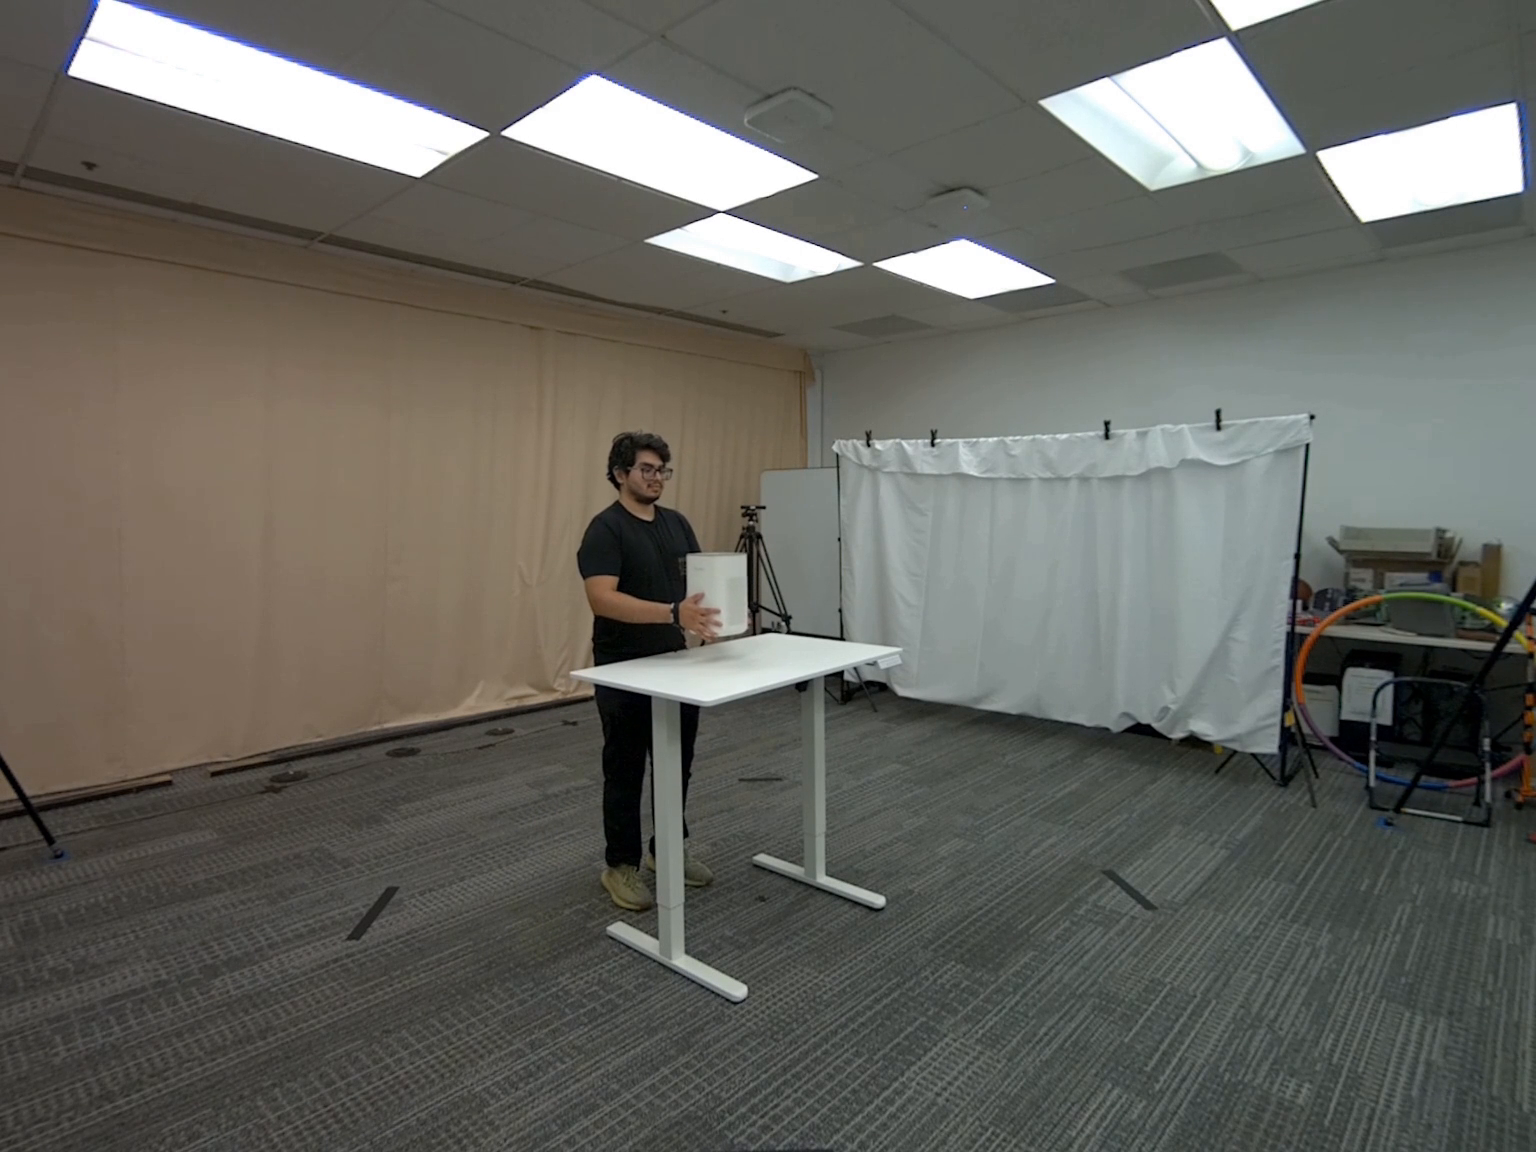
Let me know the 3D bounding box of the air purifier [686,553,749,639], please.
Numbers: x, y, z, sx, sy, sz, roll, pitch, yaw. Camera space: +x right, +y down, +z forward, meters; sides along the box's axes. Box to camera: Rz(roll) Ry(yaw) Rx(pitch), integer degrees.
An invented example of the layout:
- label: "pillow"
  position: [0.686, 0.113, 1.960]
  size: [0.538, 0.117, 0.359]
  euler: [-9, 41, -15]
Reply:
- label: "air purifier"
  position: [-0.167, 0.056, 2.773]
  size: [0.176, 0.265, 0.166]
  euler: [1, 4, 36]
